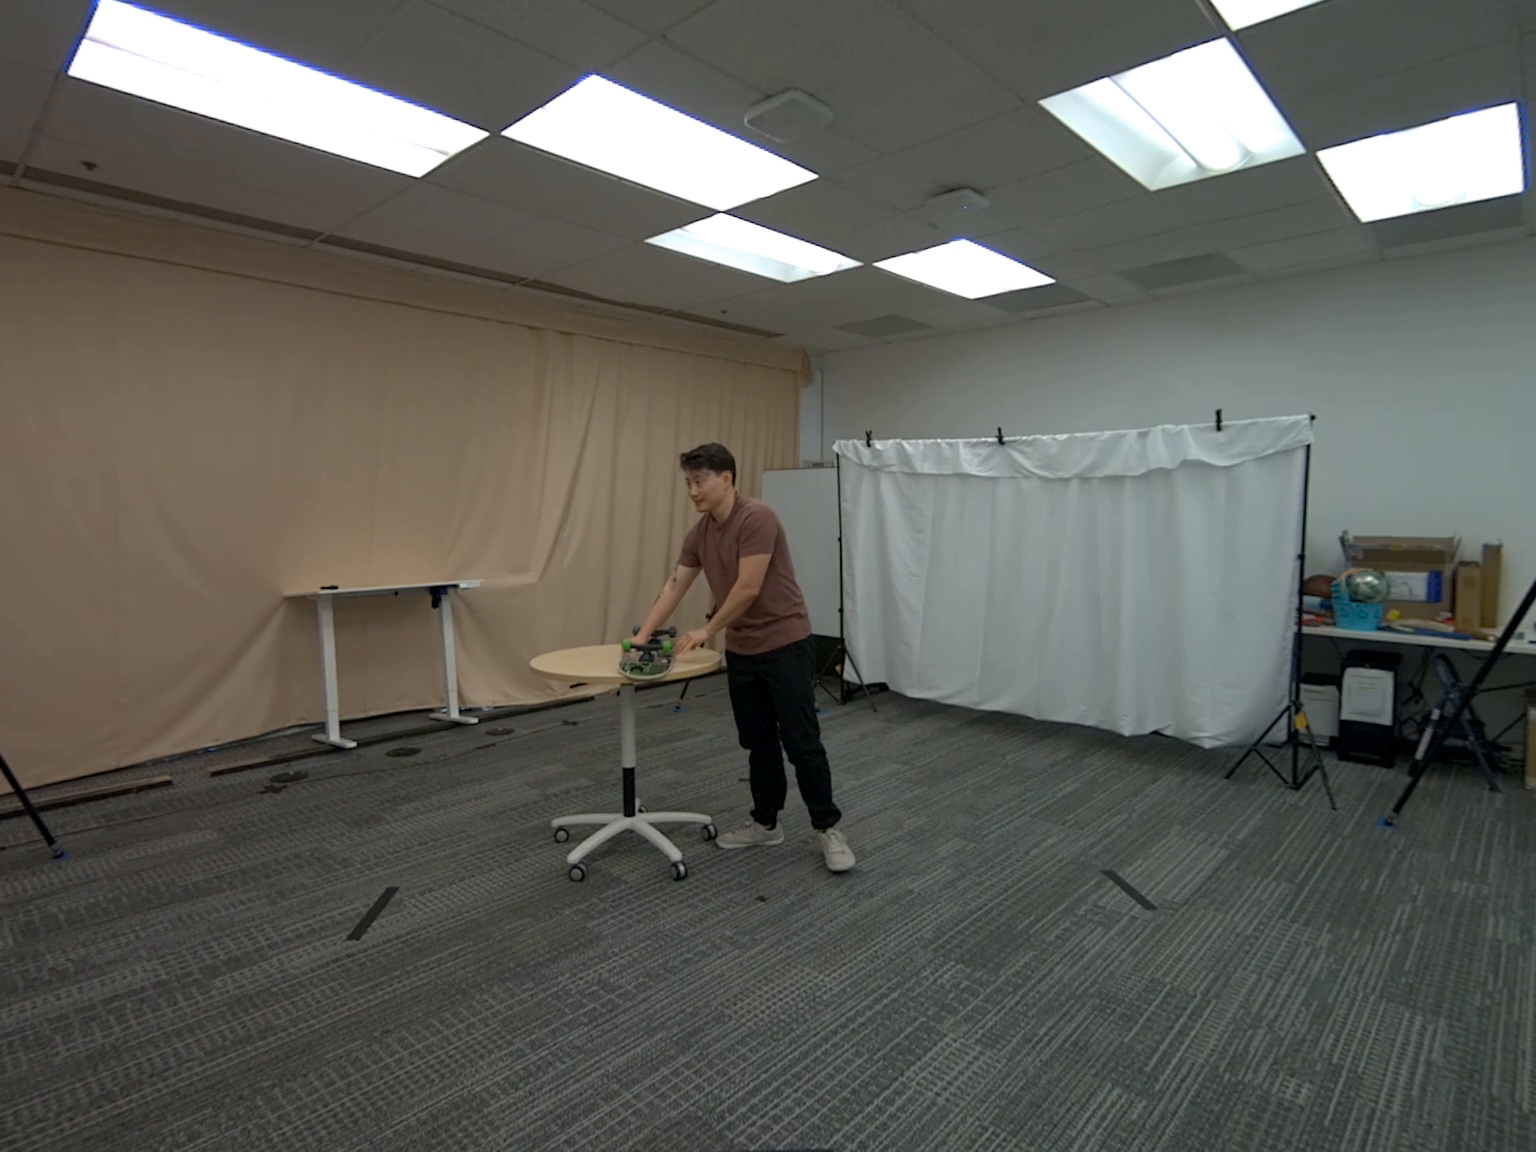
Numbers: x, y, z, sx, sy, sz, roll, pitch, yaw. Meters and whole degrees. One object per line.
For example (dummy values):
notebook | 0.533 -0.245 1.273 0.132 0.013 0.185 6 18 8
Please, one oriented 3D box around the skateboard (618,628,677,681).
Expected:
skateboard | -0.463 0.293 3.354 0.193 0.110 0.789 1 5 -3
